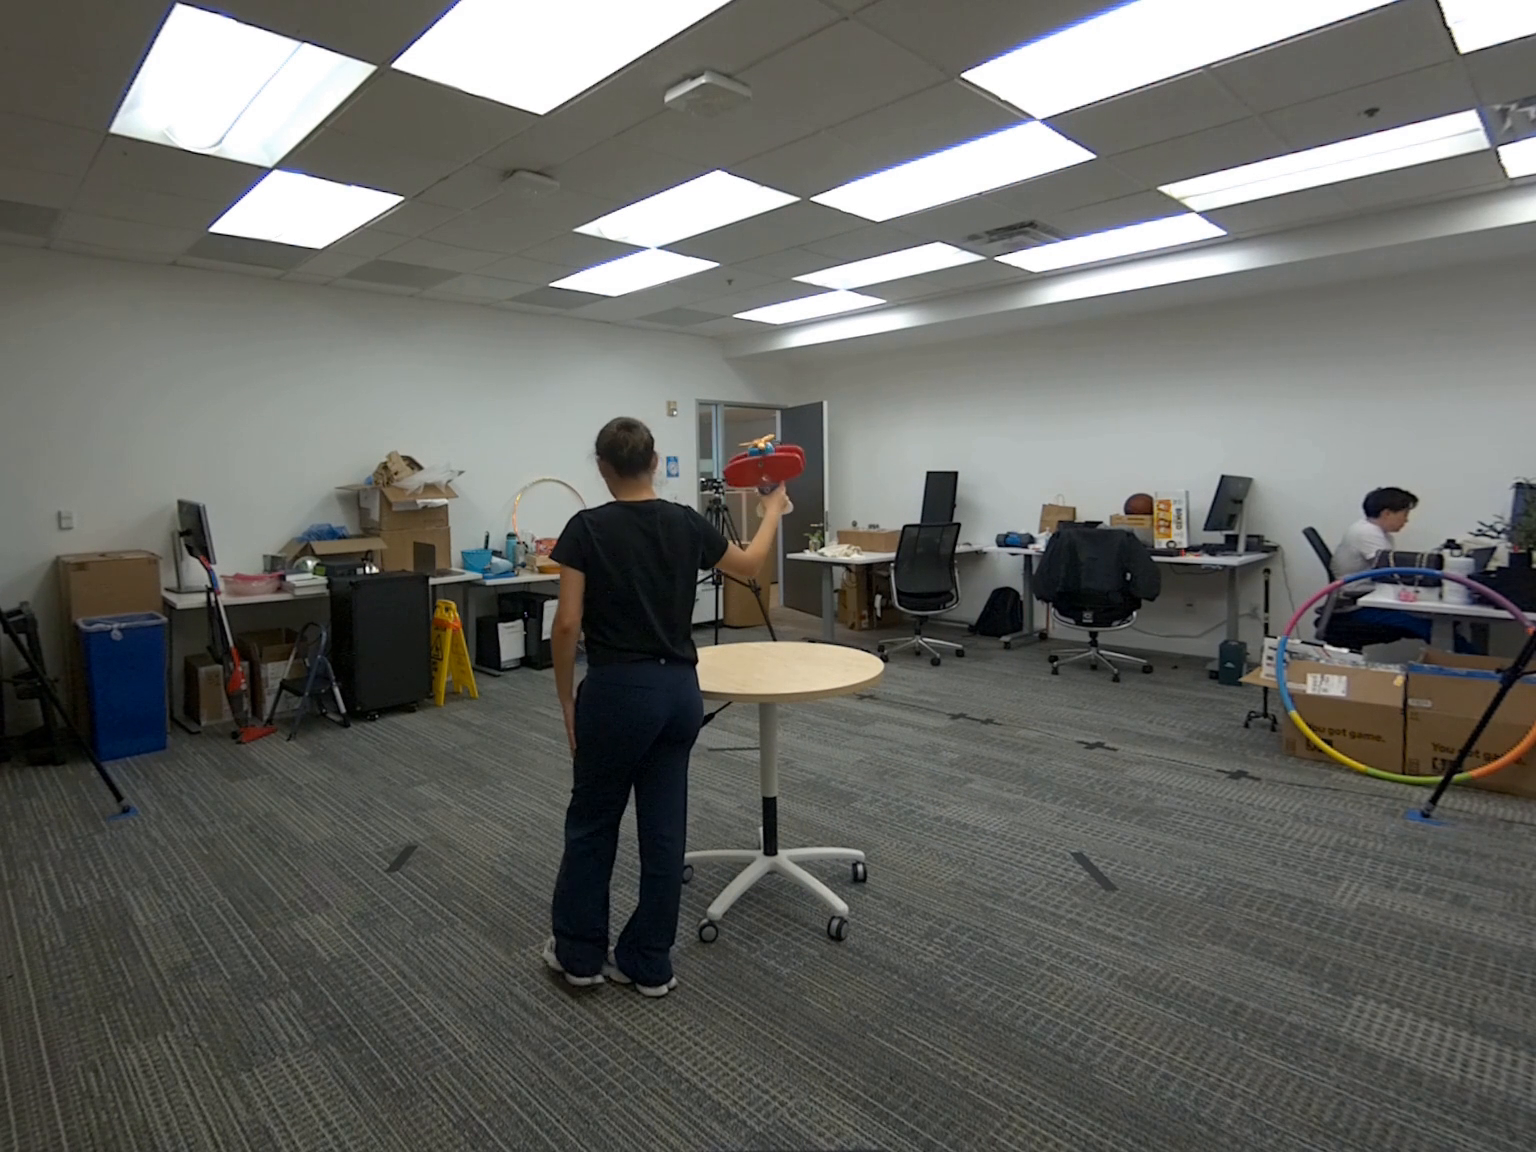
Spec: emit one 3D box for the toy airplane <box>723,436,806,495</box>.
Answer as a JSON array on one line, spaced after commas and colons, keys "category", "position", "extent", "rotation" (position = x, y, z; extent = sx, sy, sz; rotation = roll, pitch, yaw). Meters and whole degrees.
[{"category": "toy airplane", "position": [0.011, -0.325, 2.794], "extent": [0.252, 0.260, 0.156], "rotation": [-37, 0, 16]}]
